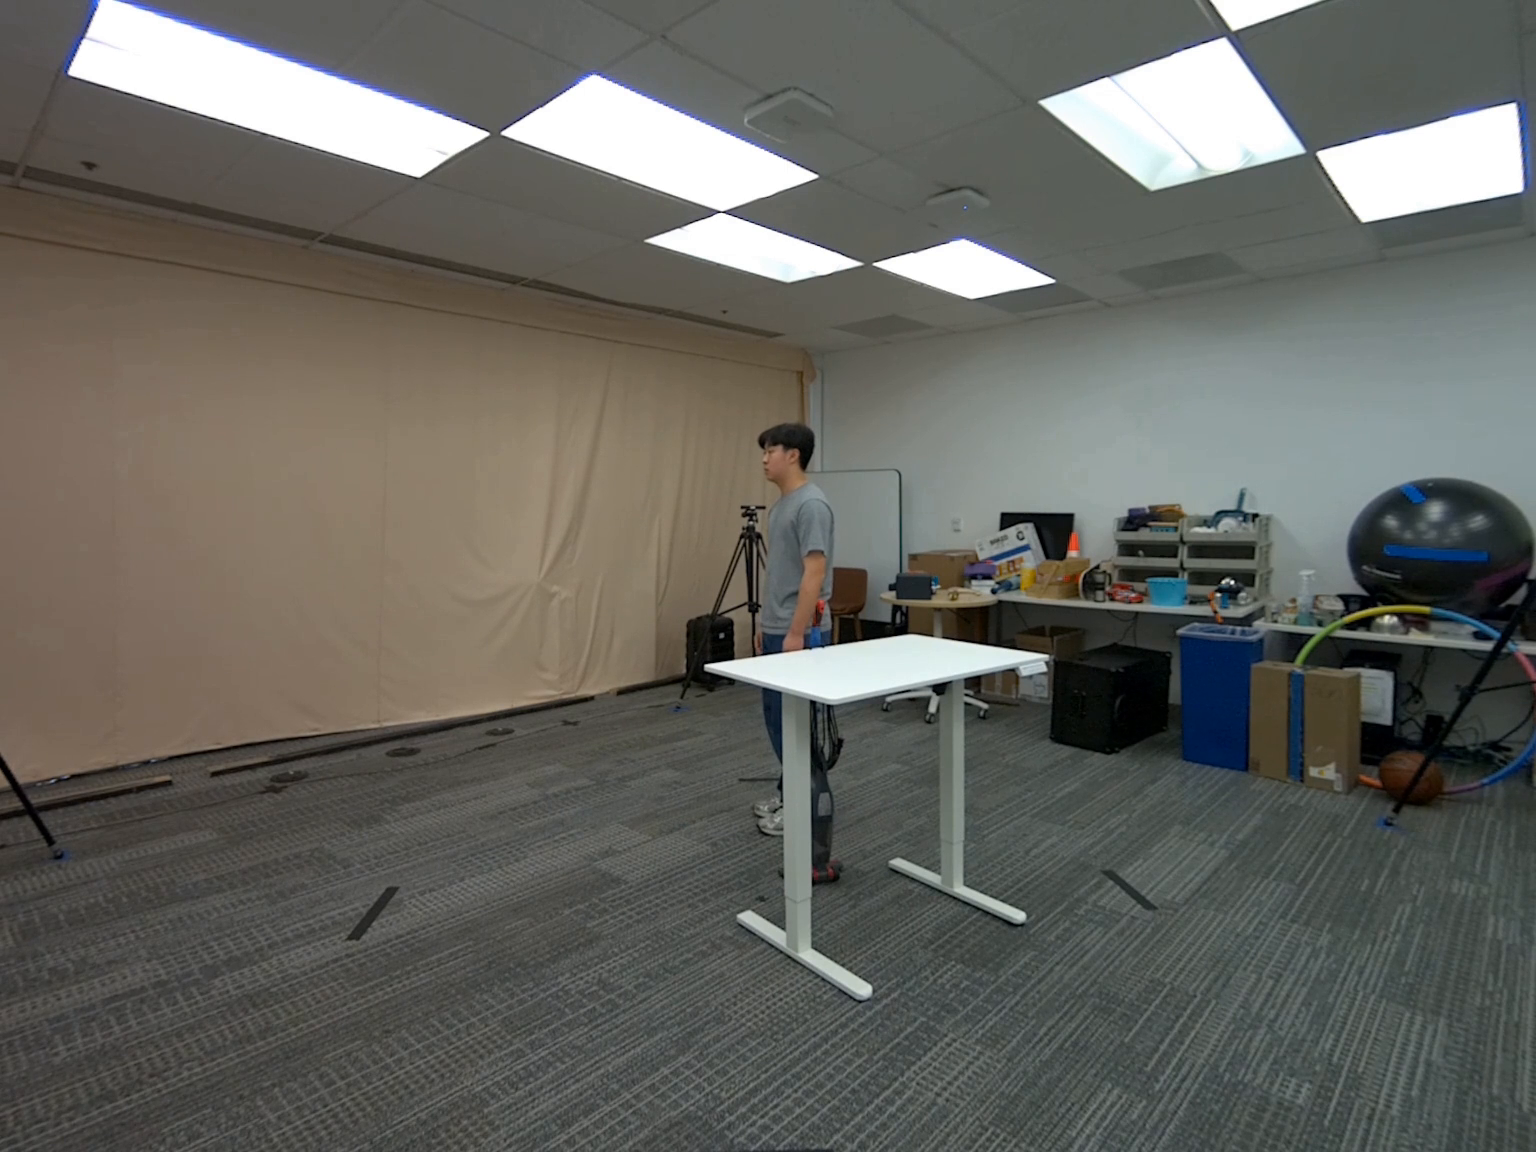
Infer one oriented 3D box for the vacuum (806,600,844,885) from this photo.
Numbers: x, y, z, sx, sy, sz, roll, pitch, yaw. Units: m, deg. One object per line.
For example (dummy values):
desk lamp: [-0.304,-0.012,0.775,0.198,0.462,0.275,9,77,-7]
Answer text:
vacuum: [0.189,0.605,3.103,0.249,1.045,0.146,-3,6,-13]
